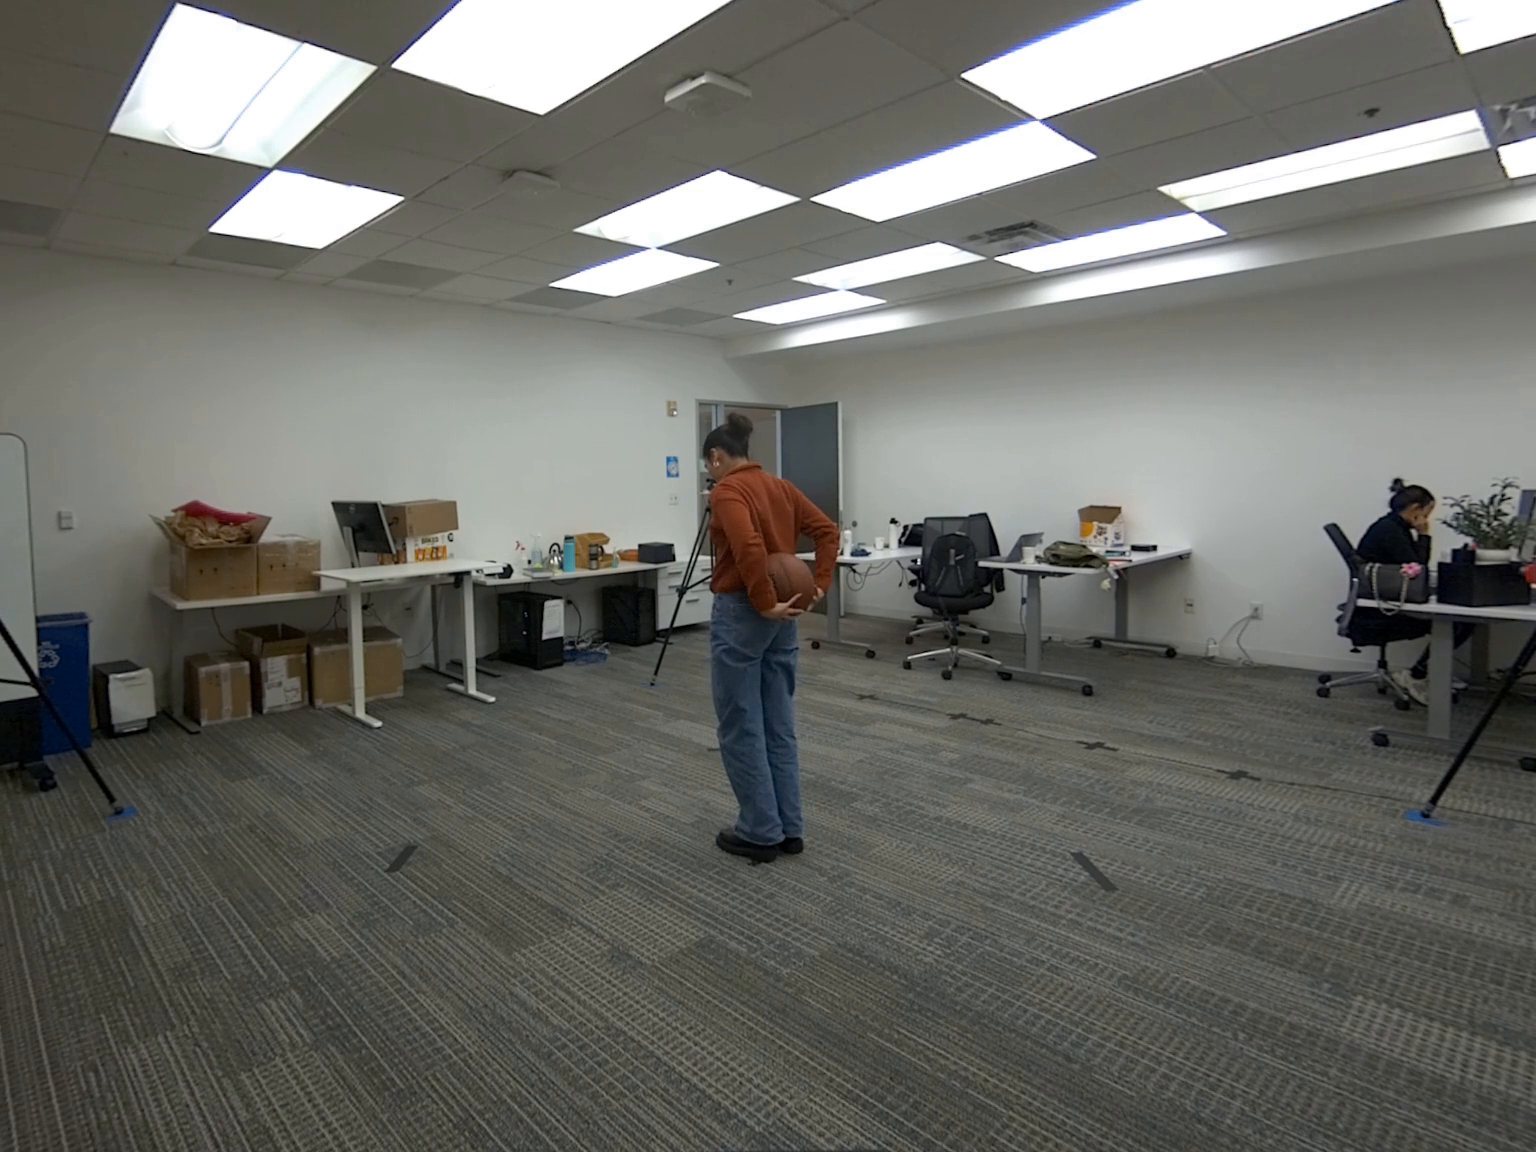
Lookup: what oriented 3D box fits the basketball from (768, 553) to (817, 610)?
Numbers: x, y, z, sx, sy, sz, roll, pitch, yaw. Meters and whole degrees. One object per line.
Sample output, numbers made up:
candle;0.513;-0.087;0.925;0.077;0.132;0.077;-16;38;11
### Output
basketball;0.036;0.030;3.002;0.236;0.235;0.237;-1;5;-2
